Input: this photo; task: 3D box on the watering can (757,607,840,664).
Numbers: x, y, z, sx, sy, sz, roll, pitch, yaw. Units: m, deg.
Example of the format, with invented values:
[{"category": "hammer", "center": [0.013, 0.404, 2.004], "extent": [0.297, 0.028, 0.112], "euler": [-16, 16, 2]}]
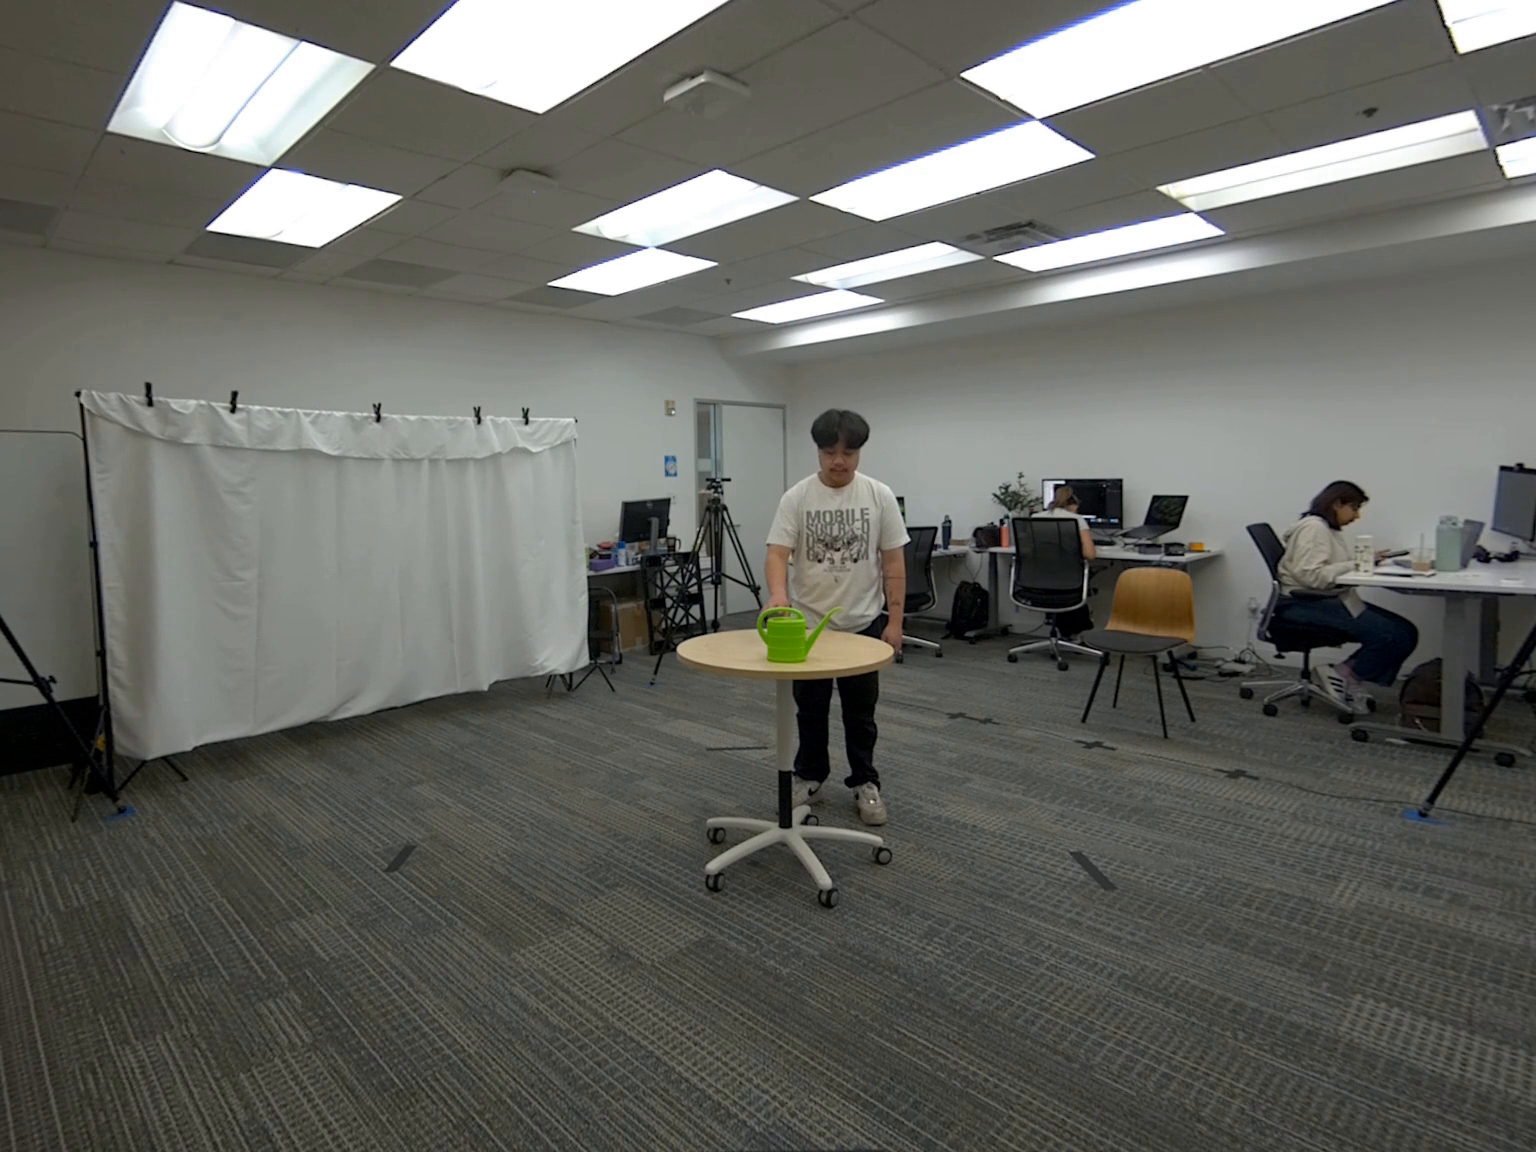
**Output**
[{"category": "watering can", "center": [0.110, 0.197, 2.809], "extent": [0.285, 0.176, 0.096], "euler": [2, 5, 26]}]
